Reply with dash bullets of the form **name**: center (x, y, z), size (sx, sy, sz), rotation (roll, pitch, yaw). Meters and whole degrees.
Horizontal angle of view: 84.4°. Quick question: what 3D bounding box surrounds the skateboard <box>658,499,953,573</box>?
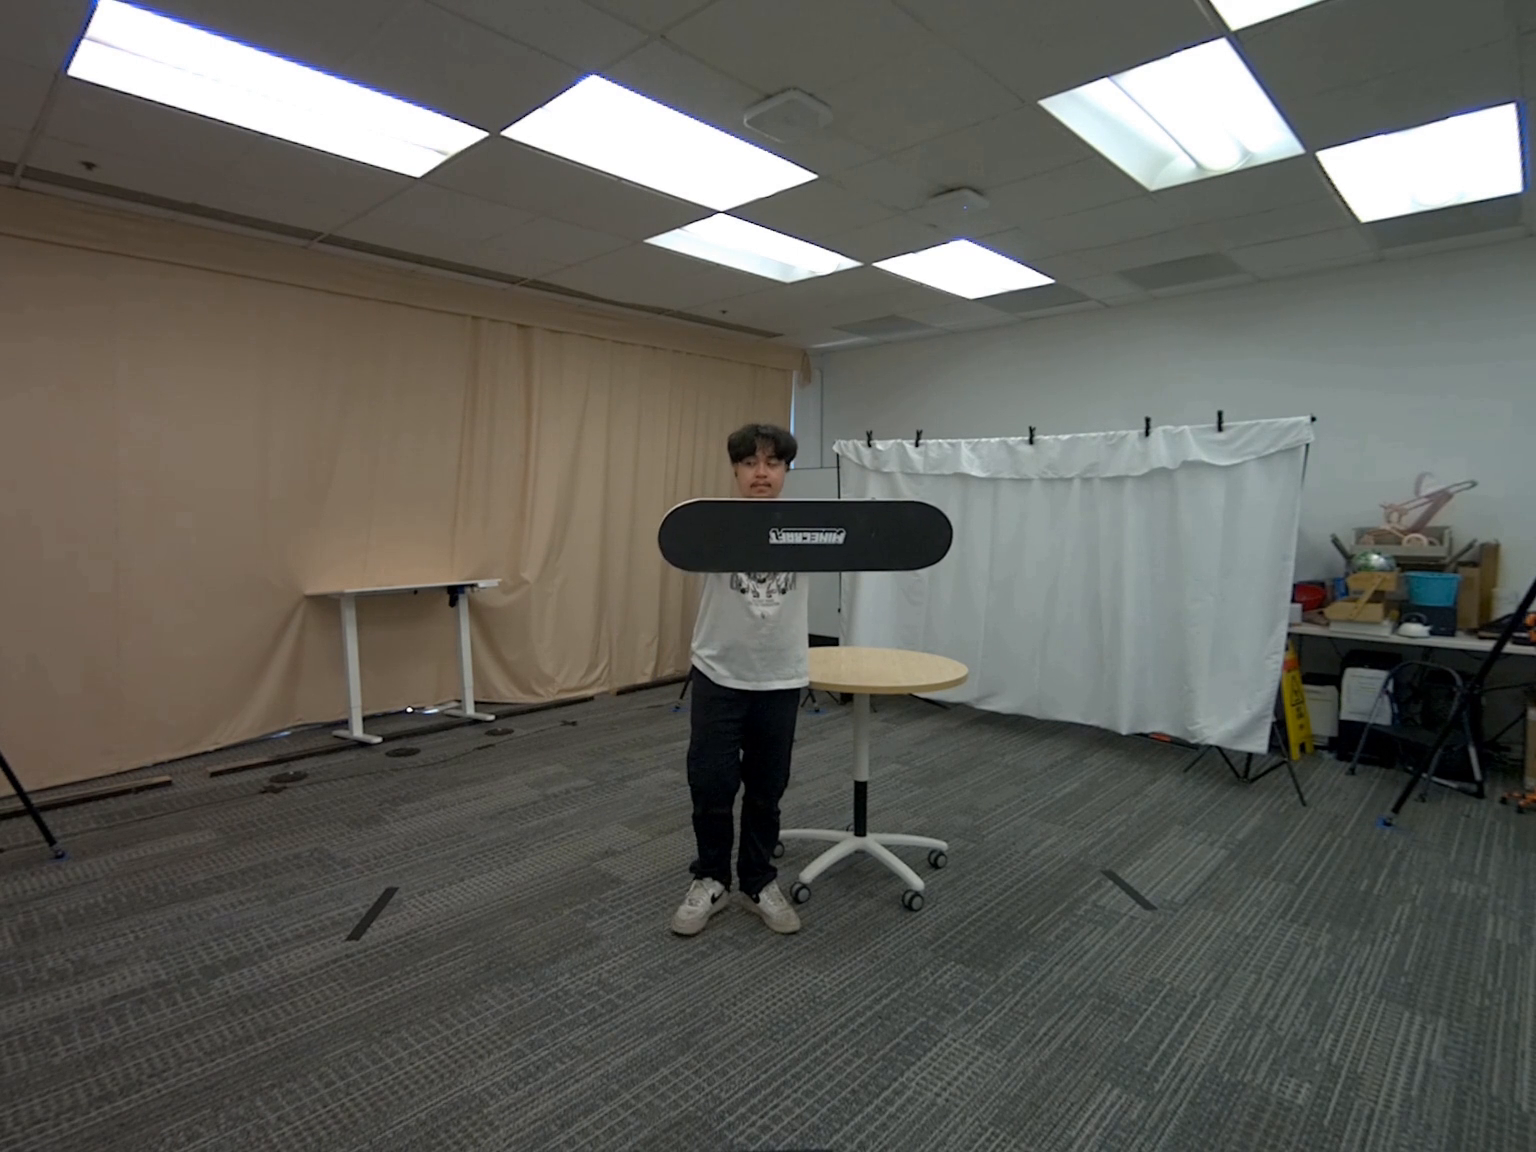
- **skateboard**: center (0.095, -0.107, 2.250), size (0.779, 0.192, 0.112), rotation (0, 7, -7)
